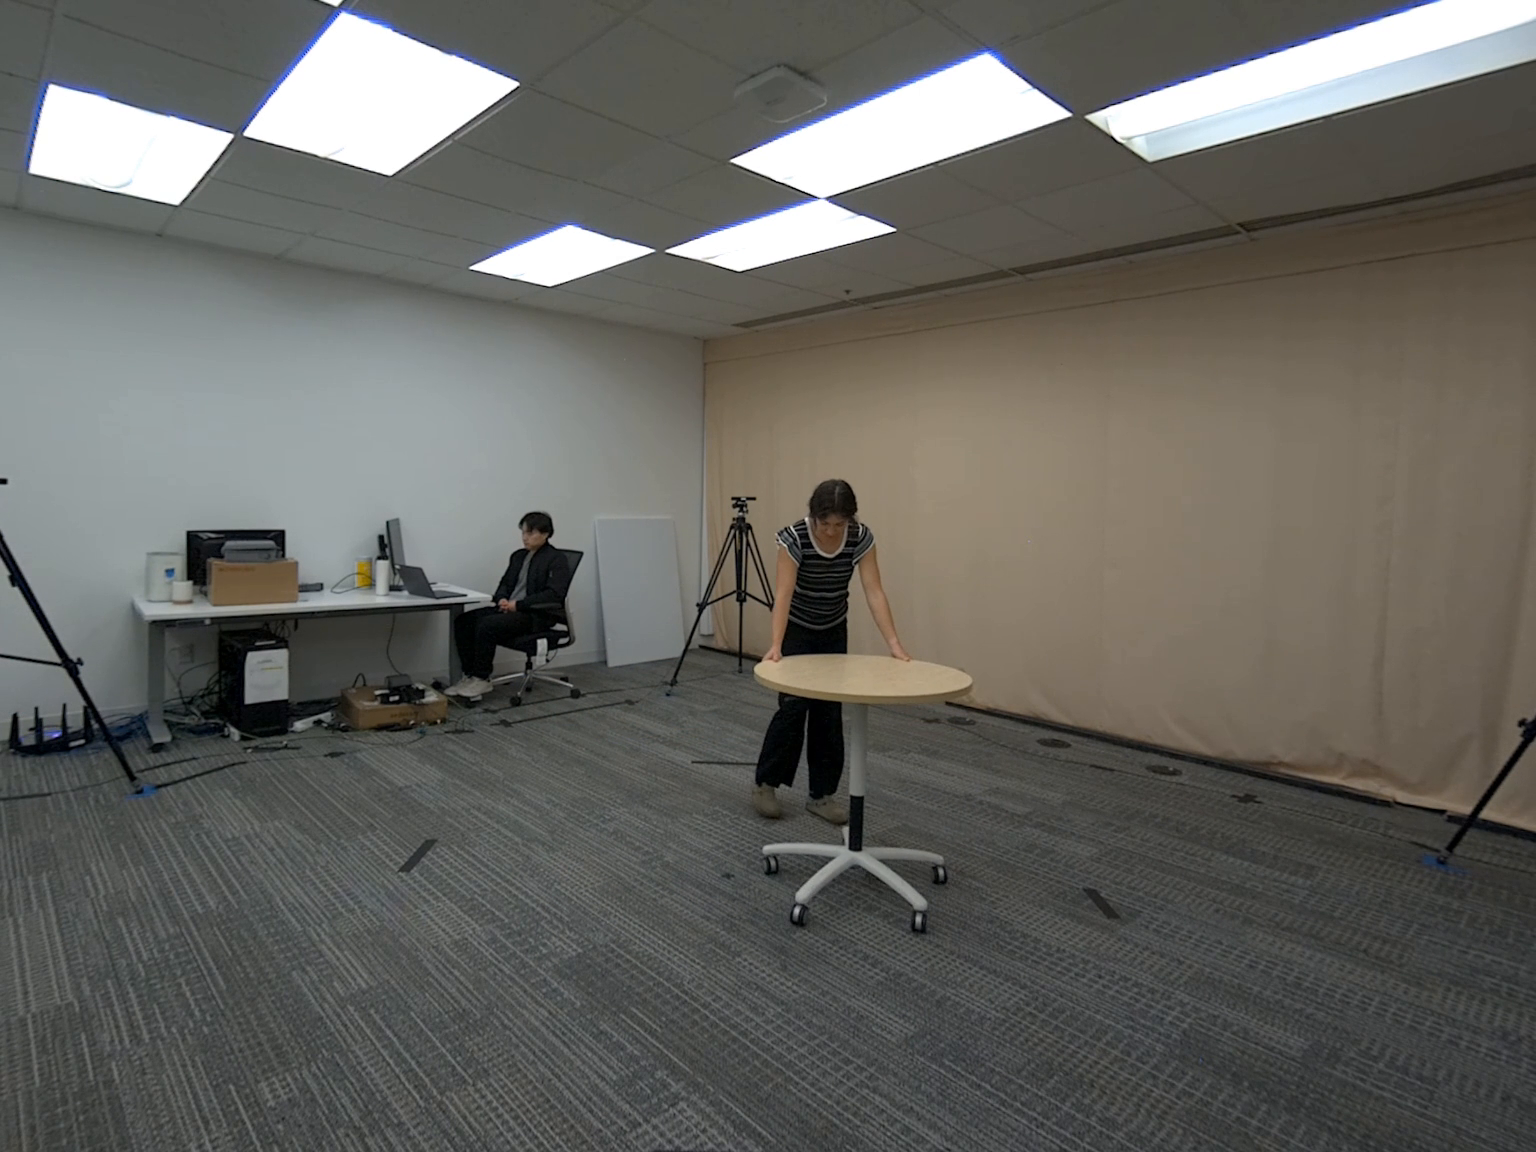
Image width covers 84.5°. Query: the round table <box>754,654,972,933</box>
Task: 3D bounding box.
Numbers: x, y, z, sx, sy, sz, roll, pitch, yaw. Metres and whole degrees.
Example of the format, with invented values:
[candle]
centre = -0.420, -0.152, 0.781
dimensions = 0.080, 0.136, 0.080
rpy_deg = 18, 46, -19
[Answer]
[round table]
centre = 0.308, 0.741, 3.006
dimensions = 0.763, 0.792, 0.766
rpy_deg = 1, 3, -1
